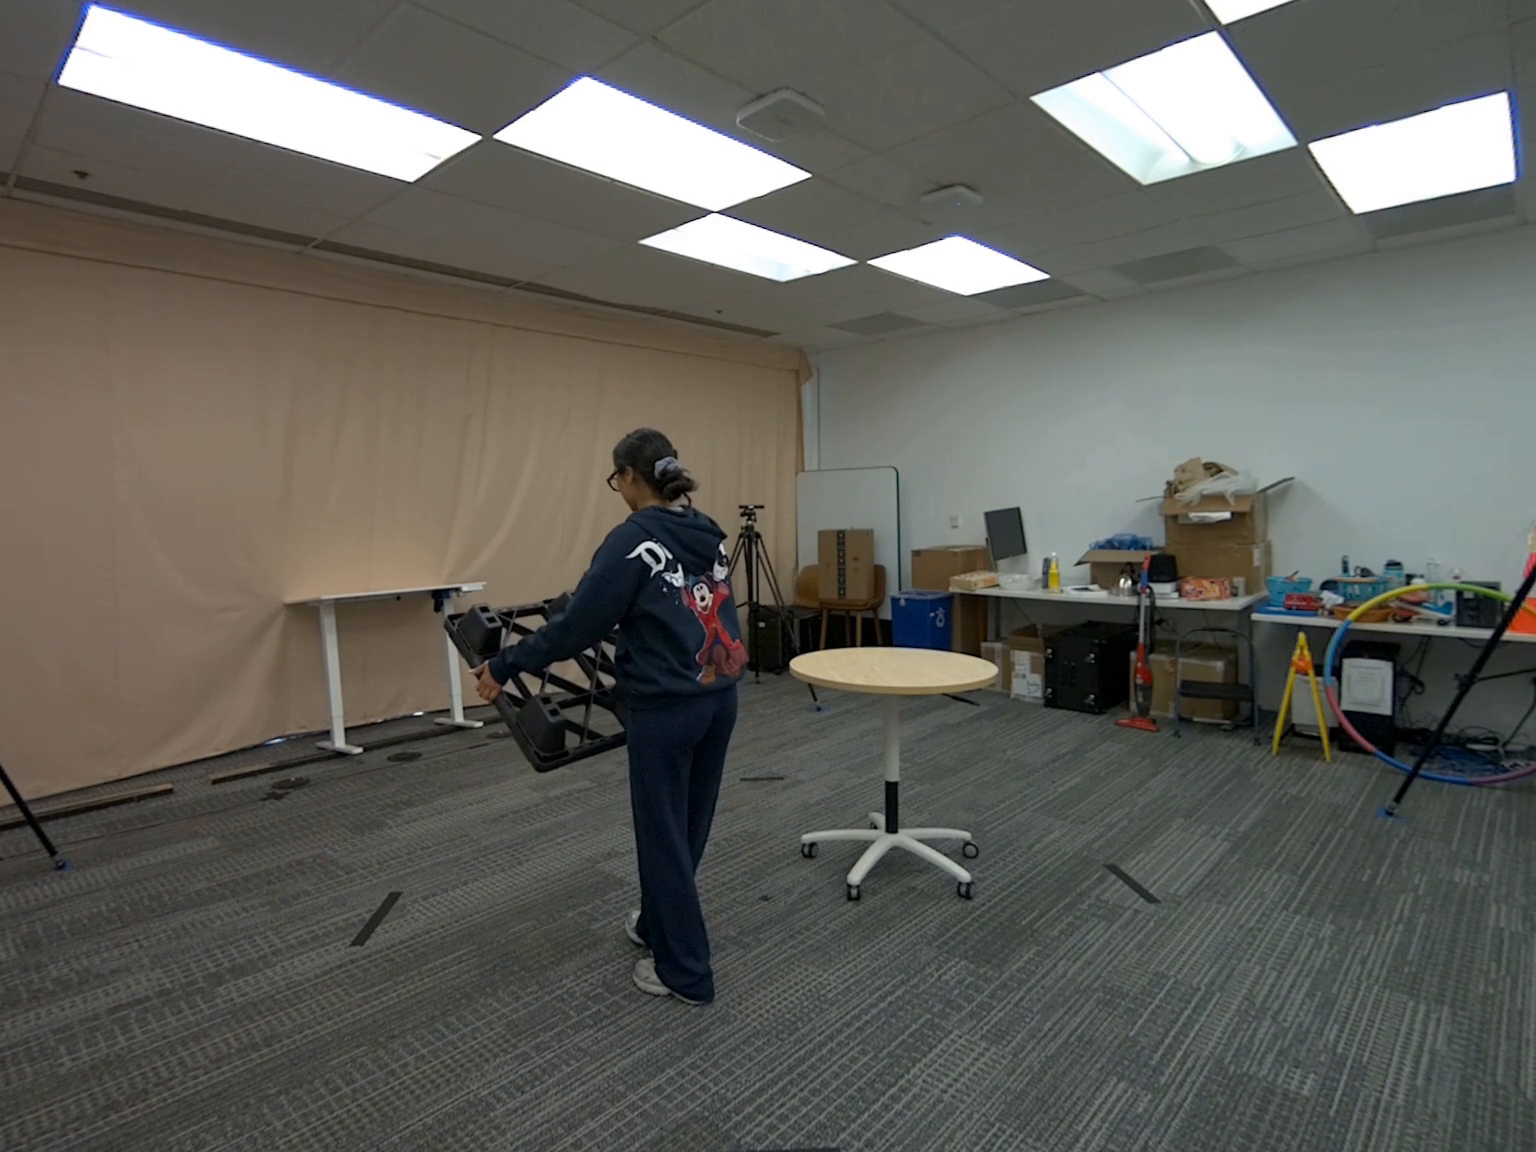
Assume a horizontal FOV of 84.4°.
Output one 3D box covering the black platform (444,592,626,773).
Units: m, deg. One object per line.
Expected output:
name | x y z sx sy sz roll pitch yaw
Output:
black platform | -0.529 0.245 2.688 0.782 0.143 0.623 -9 47 -49
